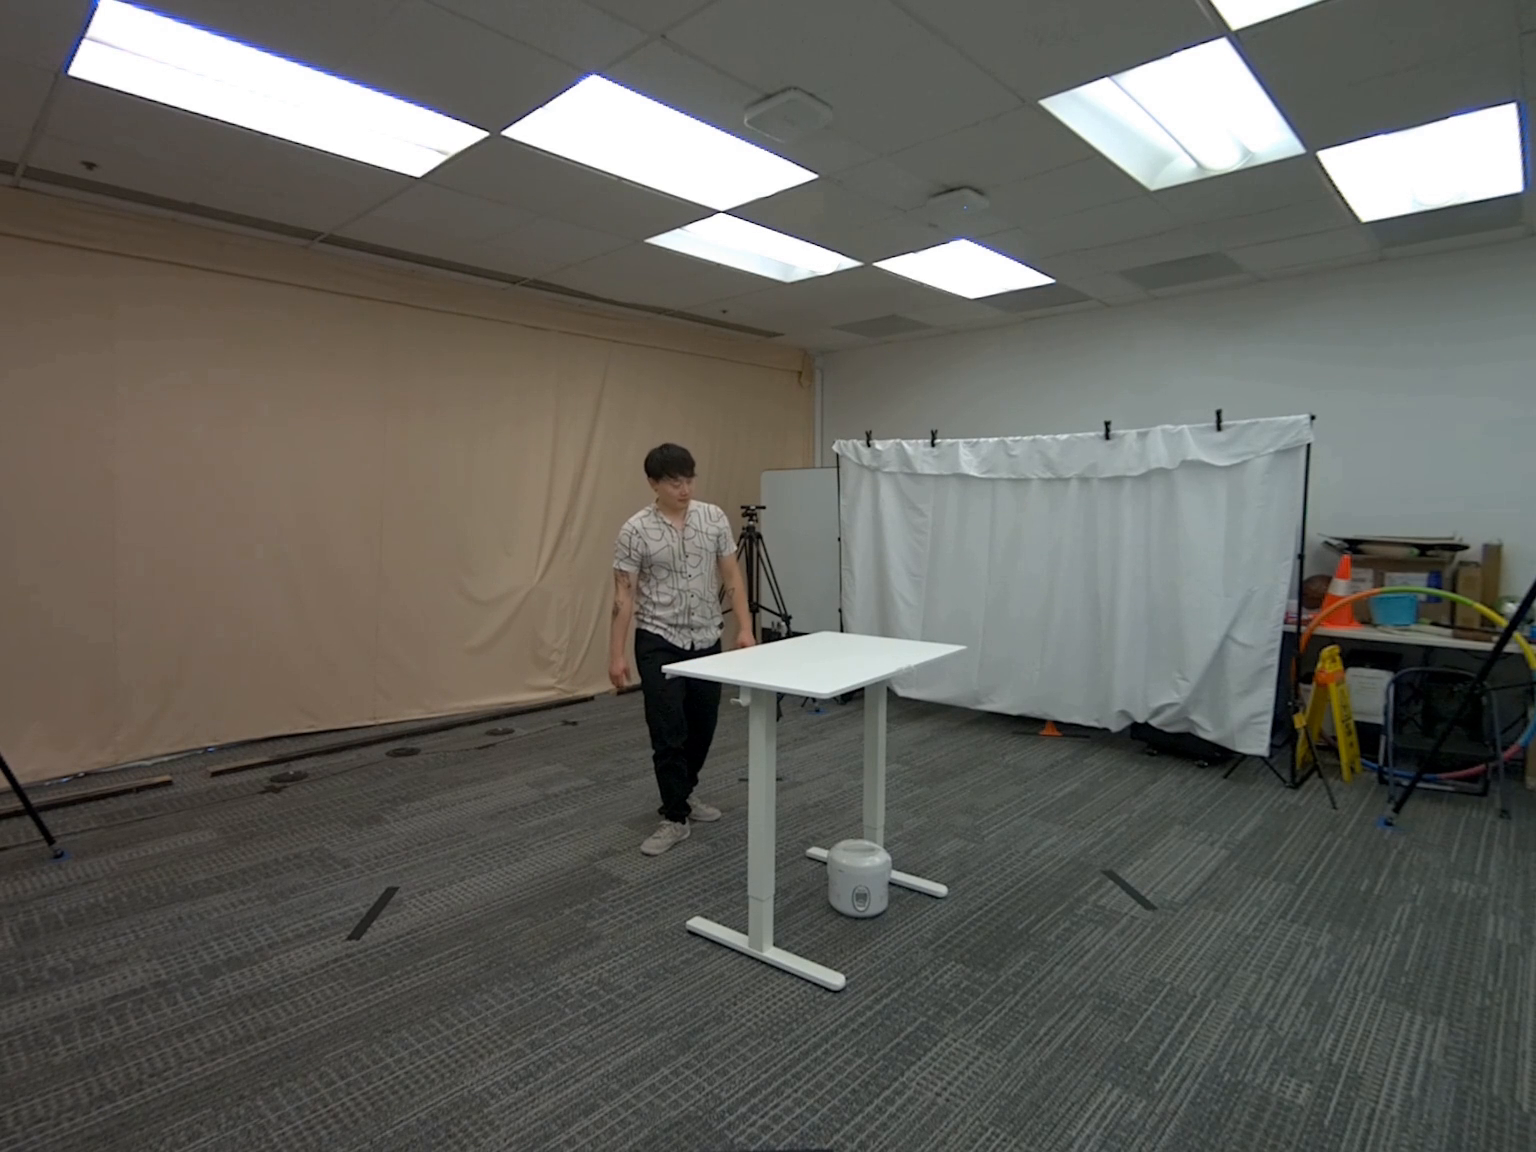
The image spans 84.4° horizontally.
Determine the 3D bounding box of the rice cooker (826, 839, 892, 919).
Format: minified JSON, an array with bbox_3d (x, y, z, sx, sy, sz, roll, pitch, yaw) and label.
[{"bbox_3d":[0.318,1.032,2.910,0.221,0.232,0.217,0,3,3],"label":"rice cooker"}]
